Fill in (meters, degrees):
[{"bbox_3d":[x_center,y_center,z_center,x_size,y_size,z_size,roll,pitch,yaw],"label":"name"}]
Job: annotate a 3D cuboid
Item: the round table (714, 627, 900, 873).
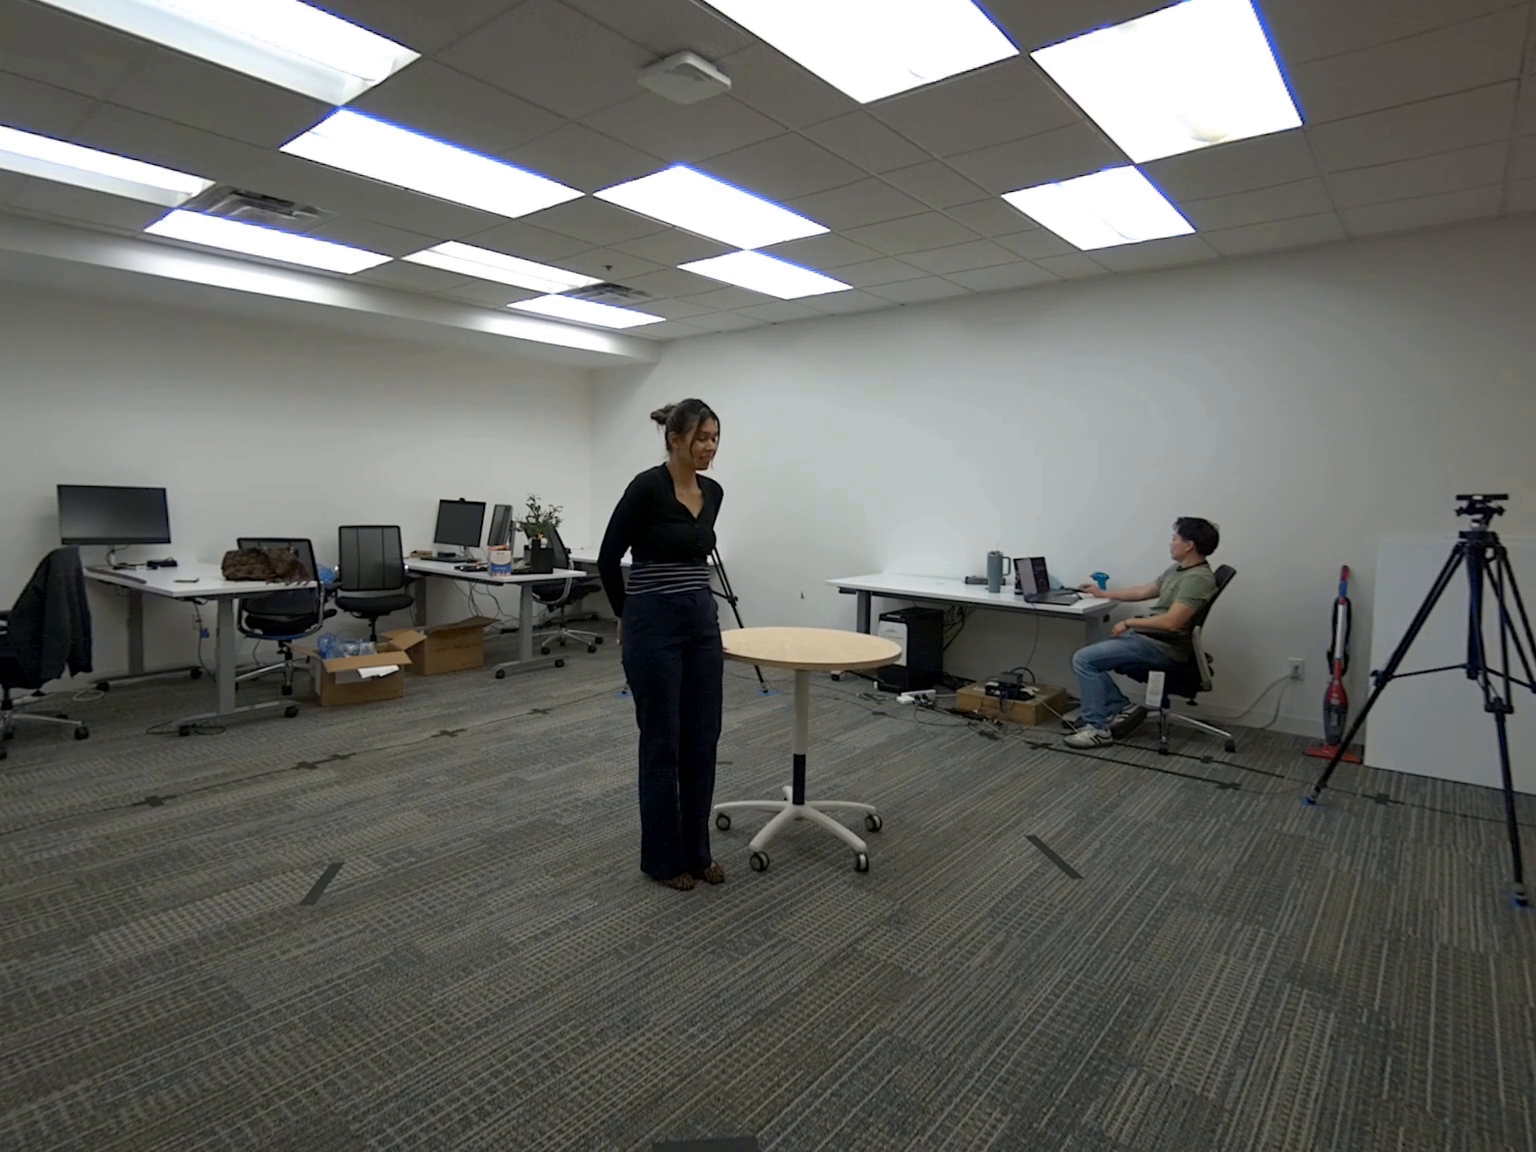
[{"bbox_3d":[0.119,0.655,3.375,0.763,0.791,0.768,1,4,-2],"label":"round table"}]
